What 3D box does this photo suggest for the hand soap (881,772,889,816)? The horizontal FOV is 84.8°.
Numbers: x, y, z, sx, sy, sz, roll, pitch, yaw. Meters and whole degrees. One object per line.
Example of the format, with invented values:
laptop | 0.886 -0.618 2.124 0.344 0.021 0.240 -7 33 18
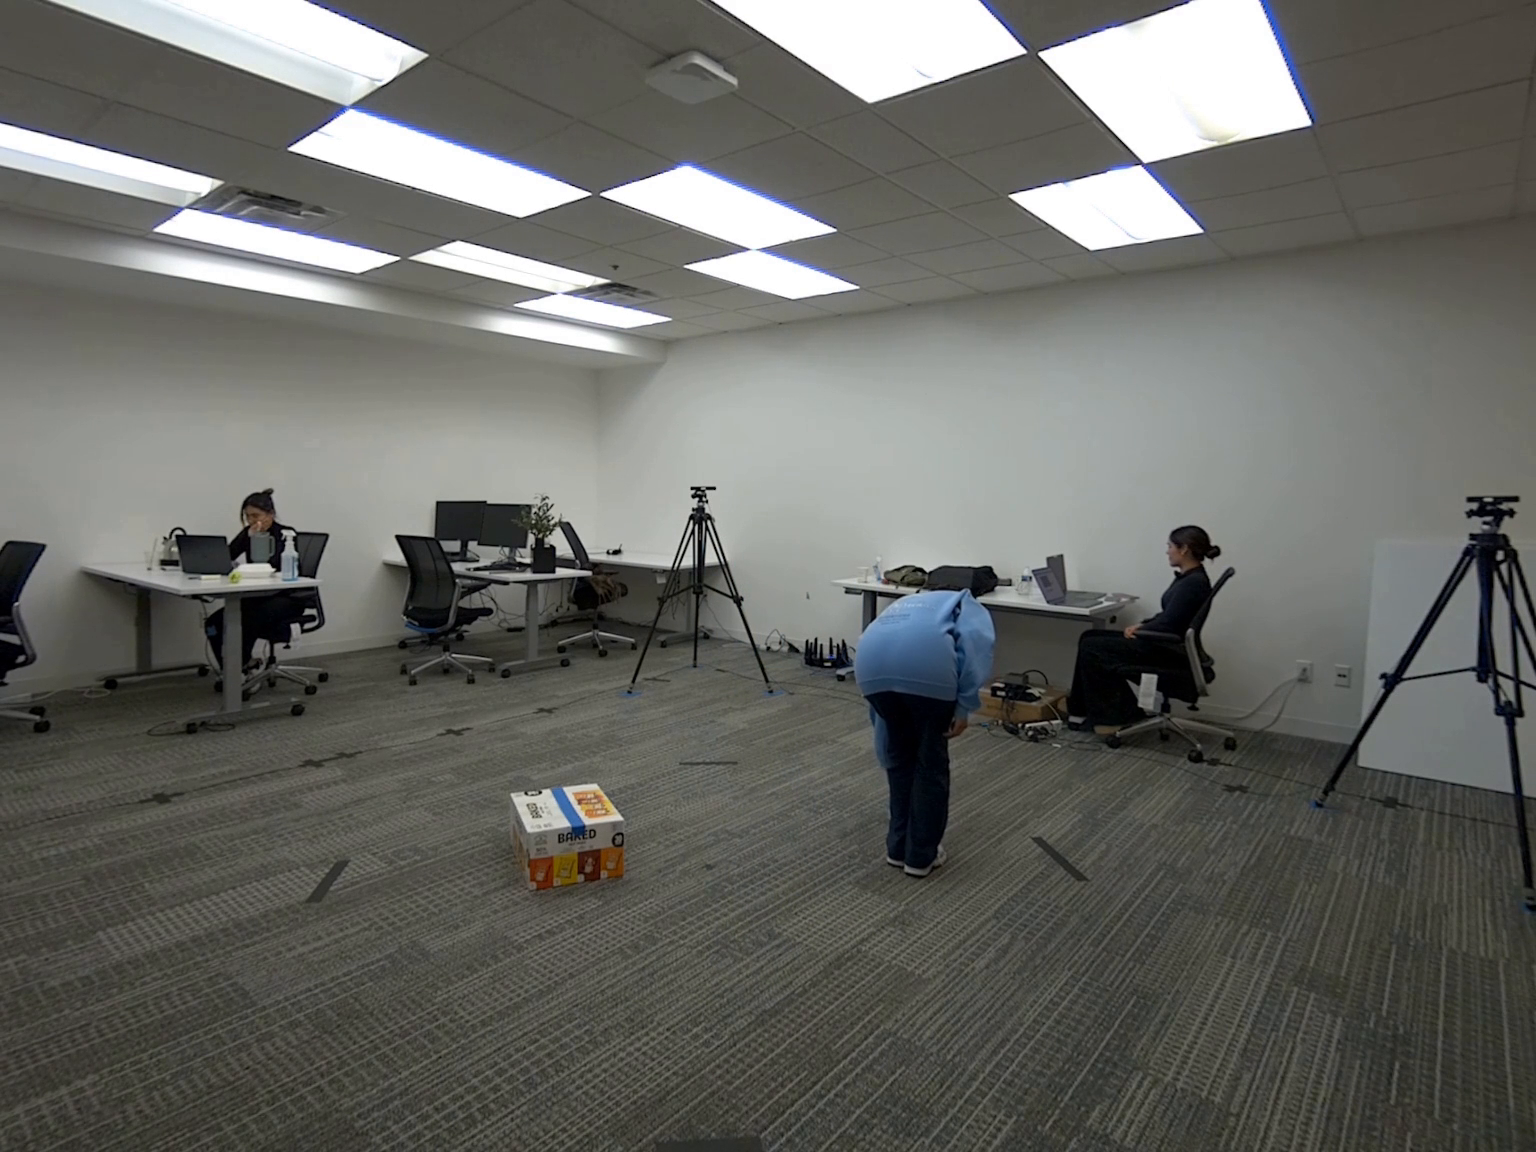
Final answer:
hand soap | 0.530 0.930 3.581 0.087 0.168 0.042 2 3 35
